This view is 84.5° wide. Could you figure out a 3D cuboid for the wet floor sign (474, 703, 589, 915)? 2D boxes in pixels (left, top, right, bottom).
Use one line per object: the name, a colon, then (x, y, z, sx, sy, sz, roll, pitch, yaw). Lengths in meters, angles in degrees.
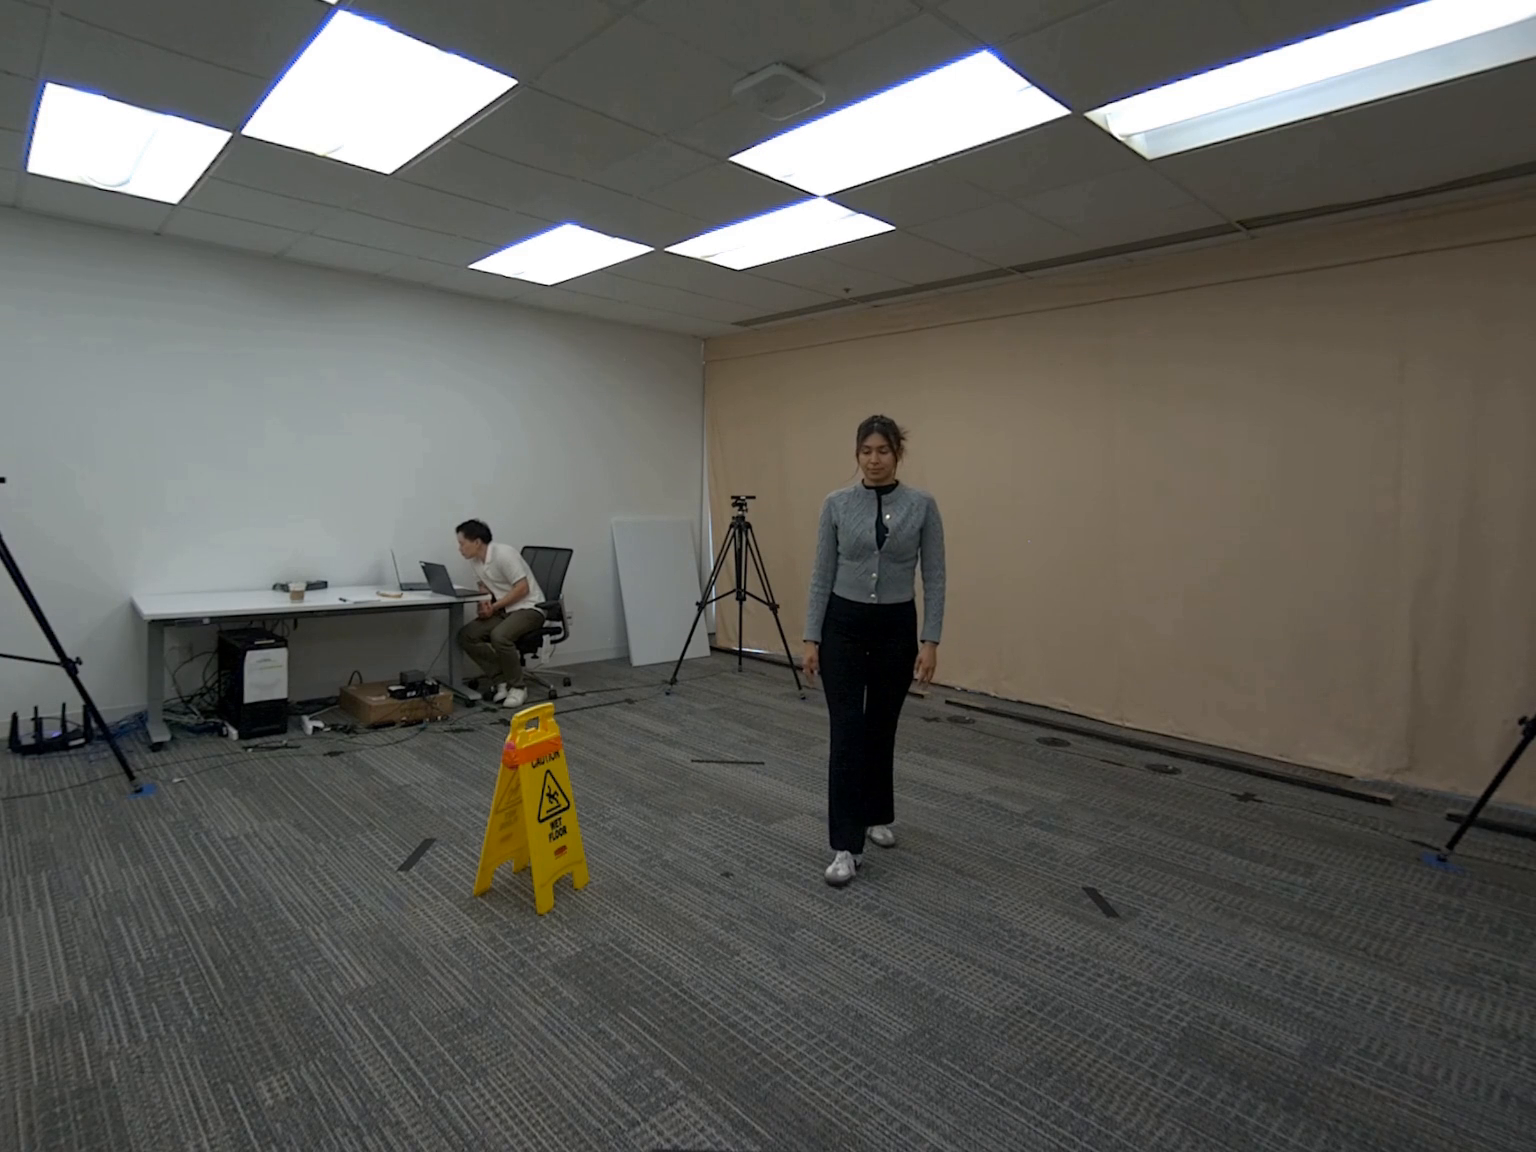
wet floor sign: (-0.832, 0.782, 2.936, 0.295, 0.645, 0.277, 2, 3, 25)
